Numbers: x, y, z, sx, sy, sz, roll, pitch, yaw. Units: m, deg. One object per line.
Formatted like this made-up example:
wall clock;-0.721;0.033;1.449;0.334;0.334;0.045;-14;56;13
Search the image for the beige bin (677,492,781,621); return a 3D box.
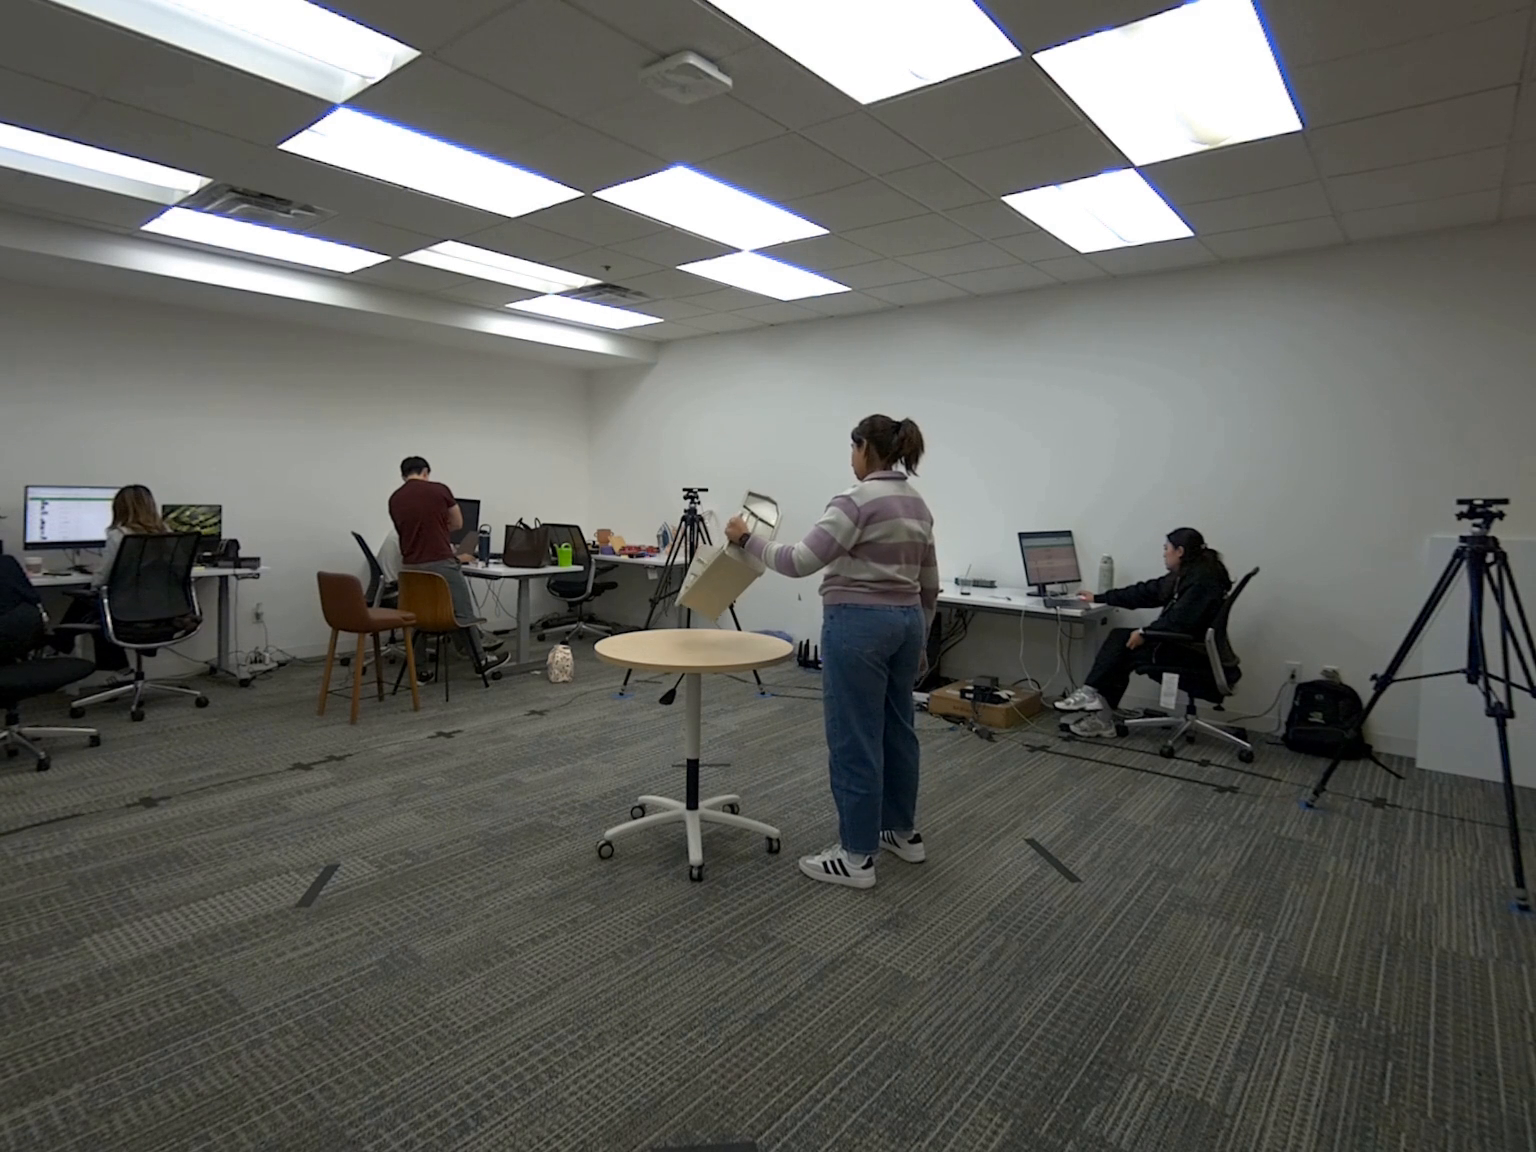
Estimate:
beige bin;-0.158;-0.086;3.354;0.185;0.384;0.423;30;-43;-16
